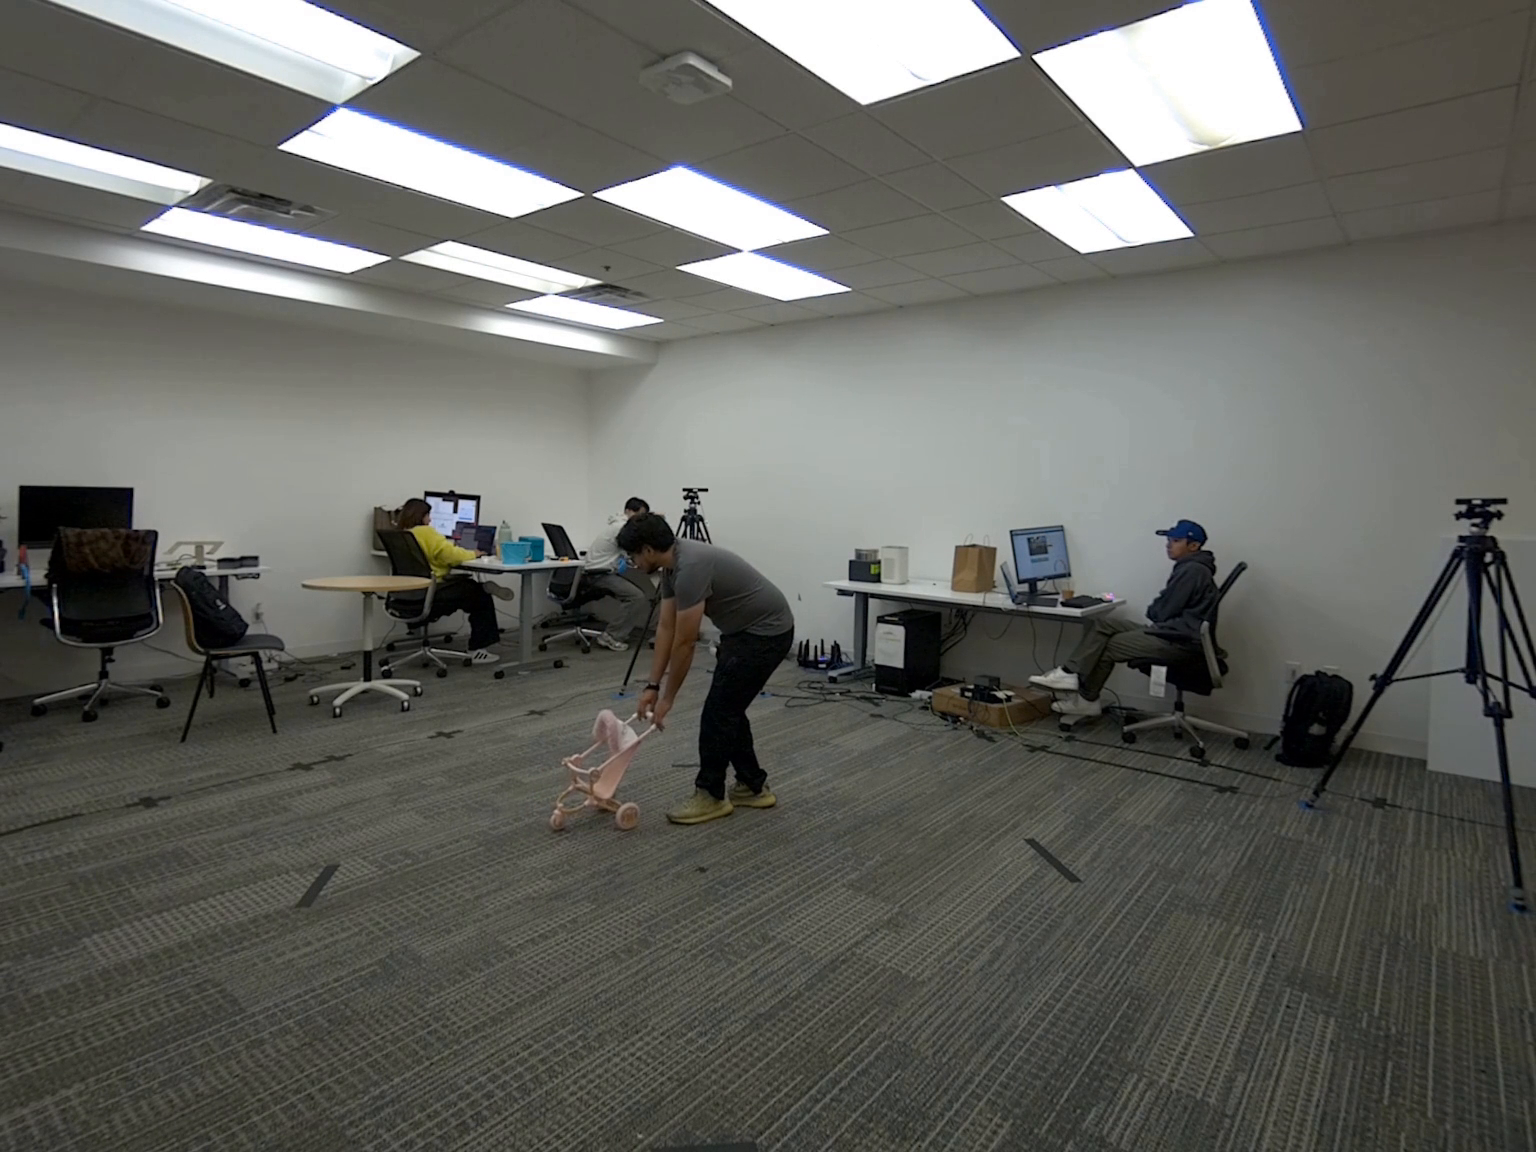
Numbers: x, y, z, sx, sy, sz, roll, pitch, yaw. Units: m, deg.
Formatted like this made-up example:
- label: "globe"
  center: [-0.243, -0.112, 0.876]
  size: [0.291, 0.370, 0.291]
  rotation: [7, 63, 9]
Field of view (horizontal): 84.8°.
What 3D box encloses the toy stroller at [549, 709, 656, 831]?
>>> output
- label: "toy stroller"
  center: [-0.700, 0.795, 3.531]
  size: [0.331, 0.536, 0.289]
  rotation: [17, -5, -27]
